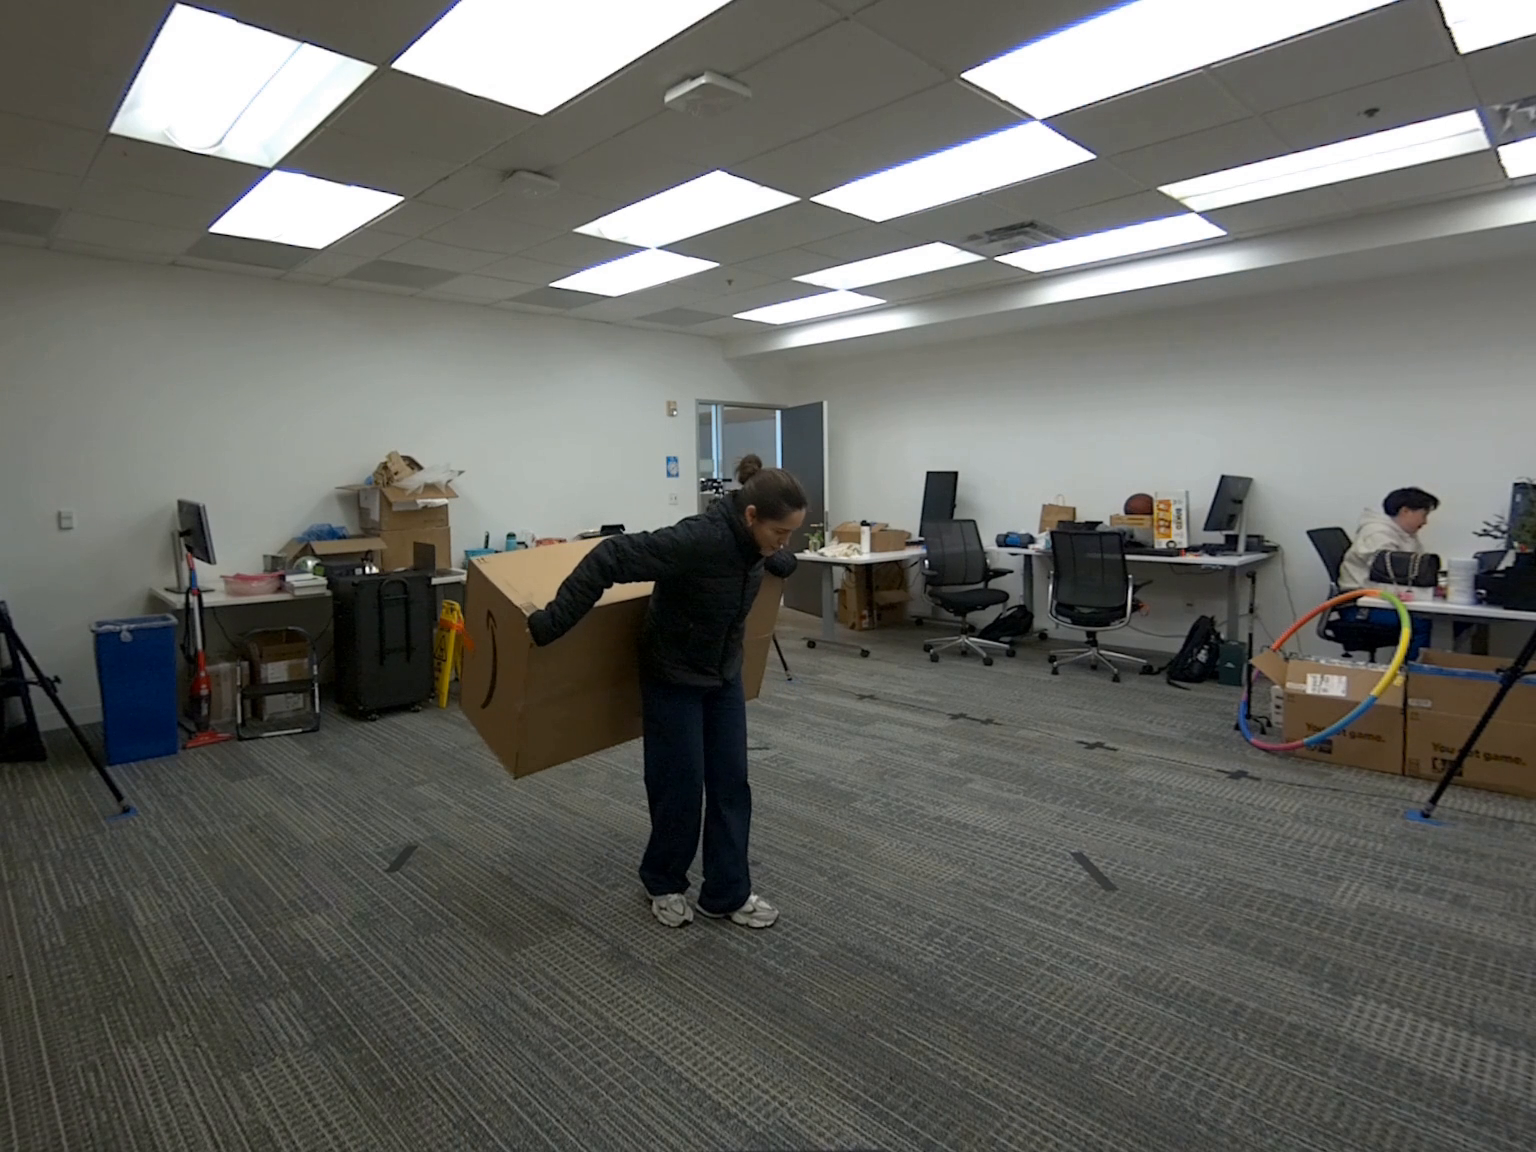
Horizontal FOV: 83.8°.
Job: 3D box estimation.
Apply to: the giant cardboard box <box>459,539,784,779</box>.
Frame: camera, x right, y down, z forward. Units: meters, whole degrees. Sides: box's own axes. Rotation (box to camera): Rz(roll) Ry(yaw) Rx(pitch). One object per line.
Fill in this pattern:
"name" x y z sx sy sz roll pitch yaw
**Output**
"giant cardboard box" -0.490 0.205 2.995 1.002 0.568 0.443 -12 33 -41
